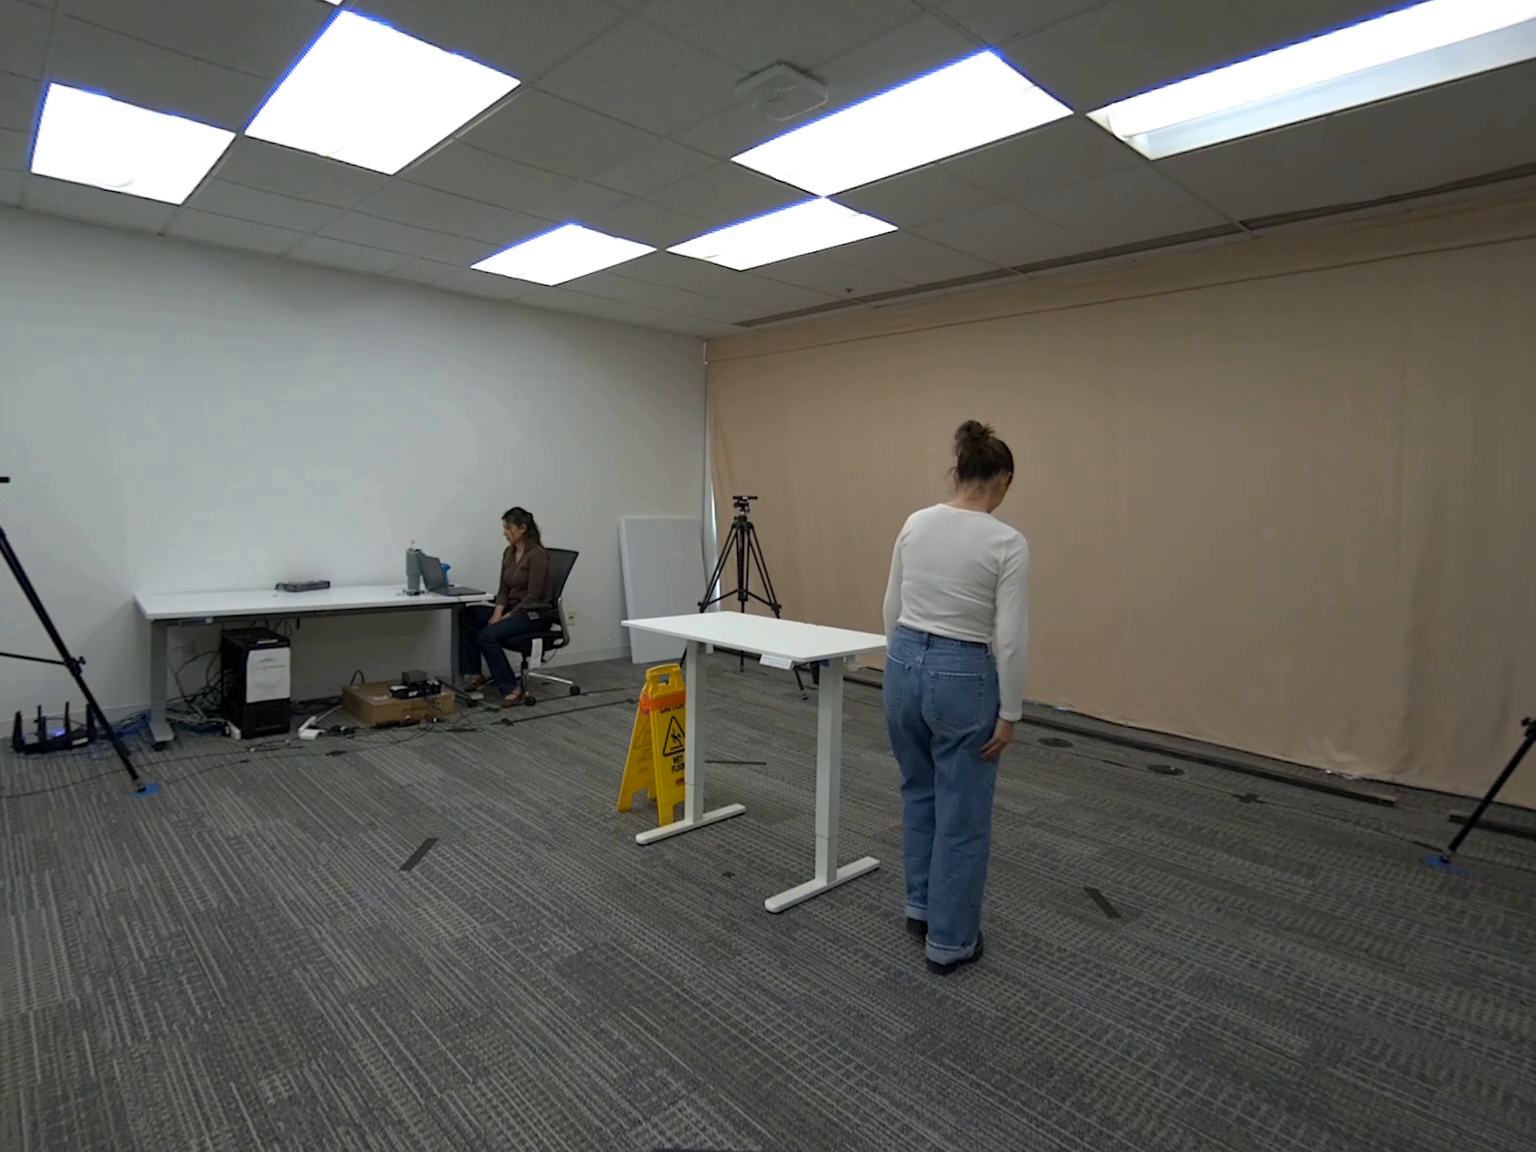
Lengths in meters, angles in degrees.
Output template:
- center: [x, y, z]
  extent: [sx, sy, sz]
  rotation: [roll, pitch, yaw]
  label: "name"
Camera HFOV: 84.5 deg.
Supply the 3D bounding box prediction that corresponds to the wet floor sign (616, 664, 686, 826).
- center: [-0.477, 0.720, 3.710]
  extent: [0.297, 0.645, 0.276]
  rotation: [3, 2, 38]
  label: "wet floor sign"
